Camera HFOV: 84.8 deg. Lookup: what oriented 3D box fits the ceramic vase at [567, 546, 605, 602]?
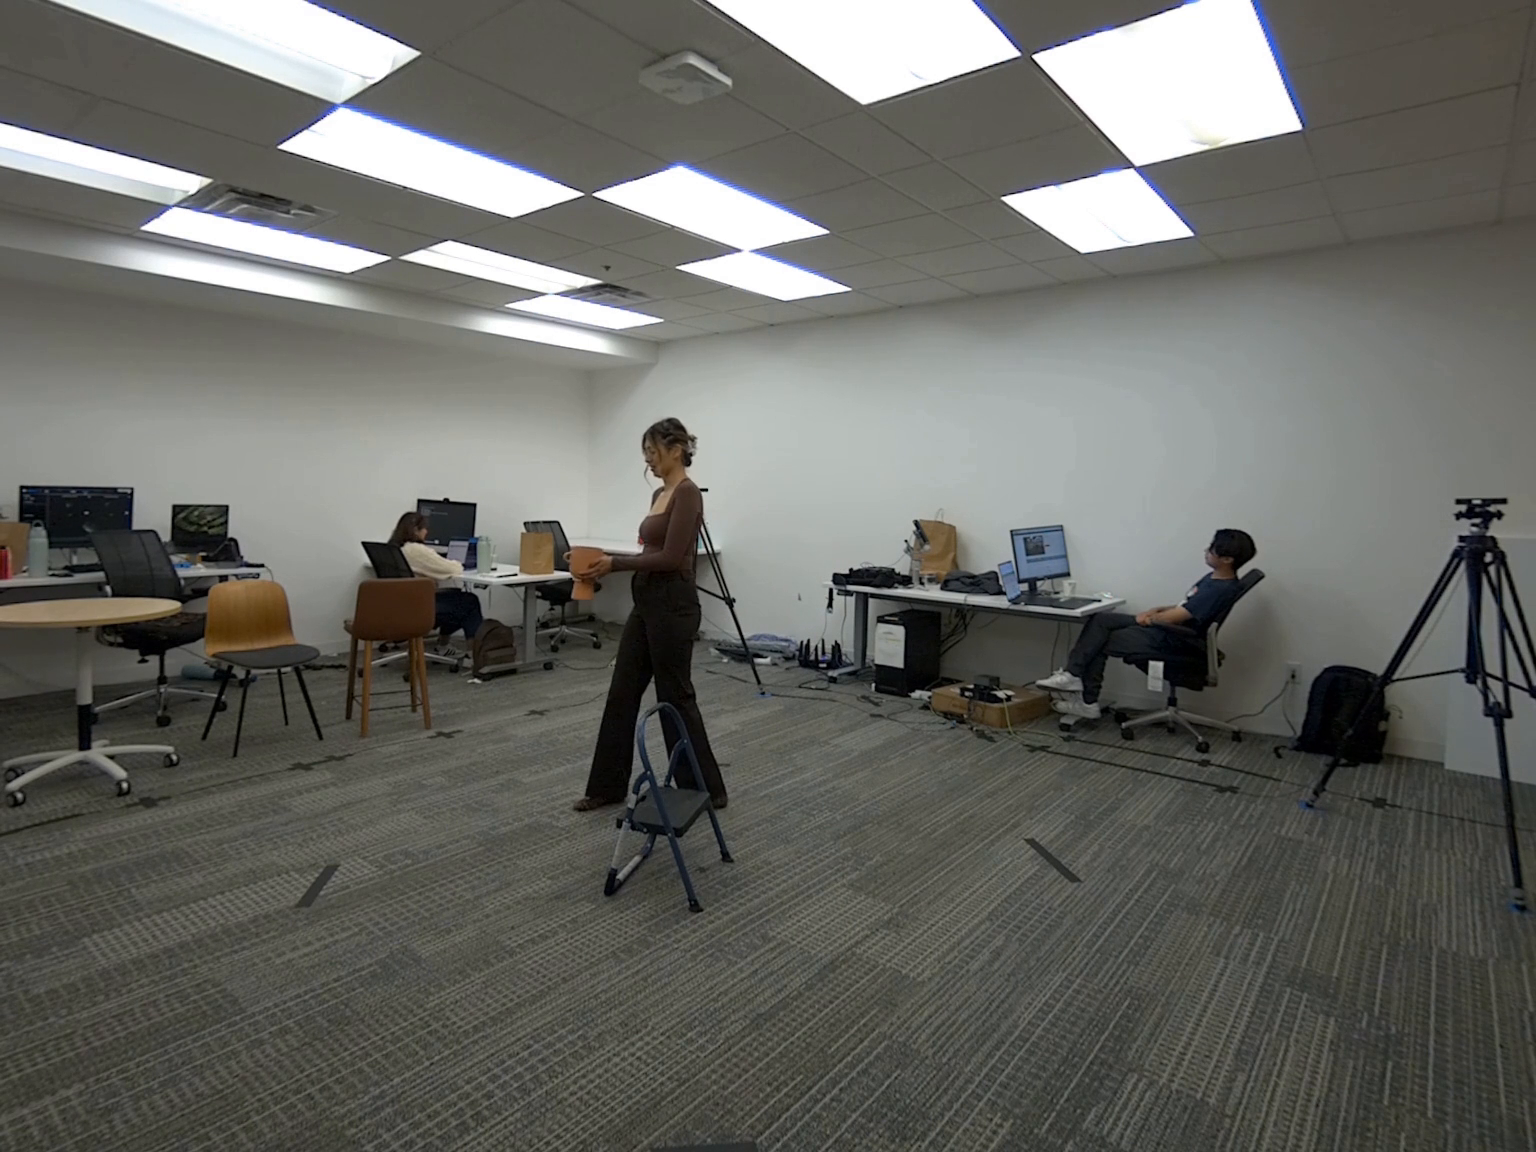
[{"bbox_3d":[-0.789,-0.019,3.595,0.161,0.219,0.133,5,2,12],"label":"ceramic vase"}]
